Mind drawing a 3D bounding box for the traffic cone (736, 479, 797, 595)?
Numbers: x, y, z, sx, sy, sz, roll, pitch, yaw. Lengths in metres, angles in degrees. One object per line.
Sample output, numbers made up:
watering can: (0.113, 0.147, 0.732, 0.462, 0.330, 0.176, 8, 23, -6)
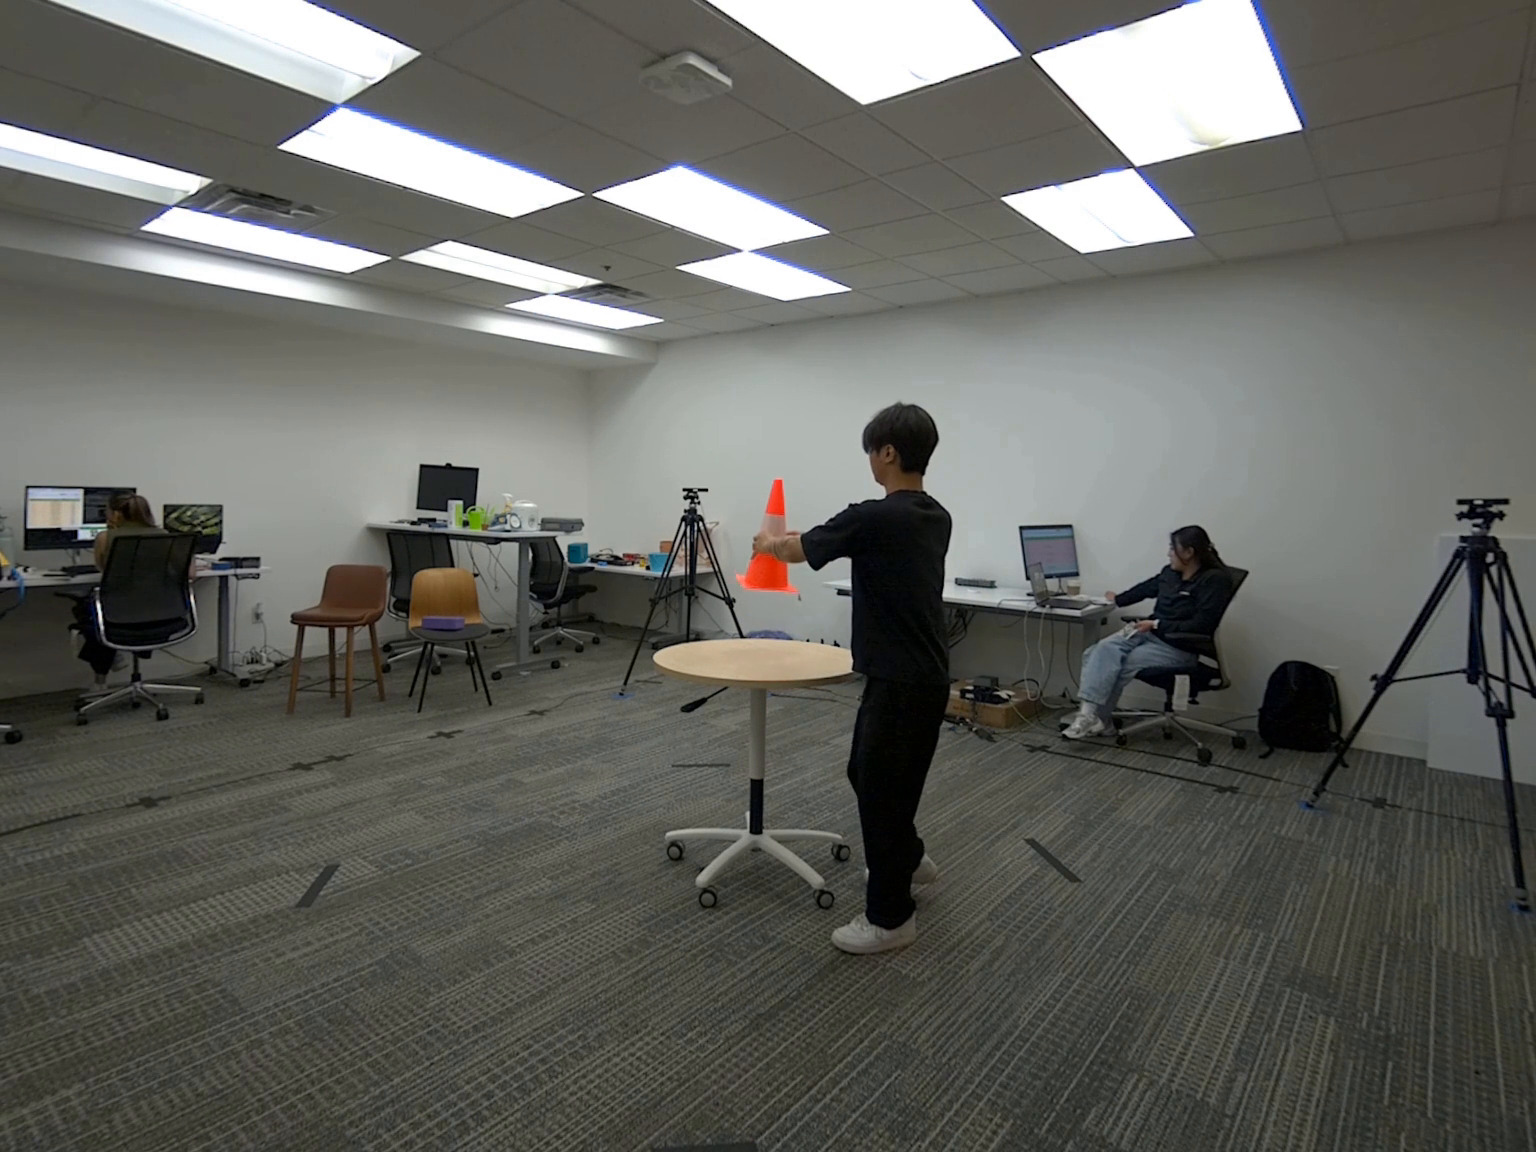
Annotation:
traffic cone: (0.011, -0.163, 3.019, 0.202, 0.381, 0.208, 4, 9, -13)
